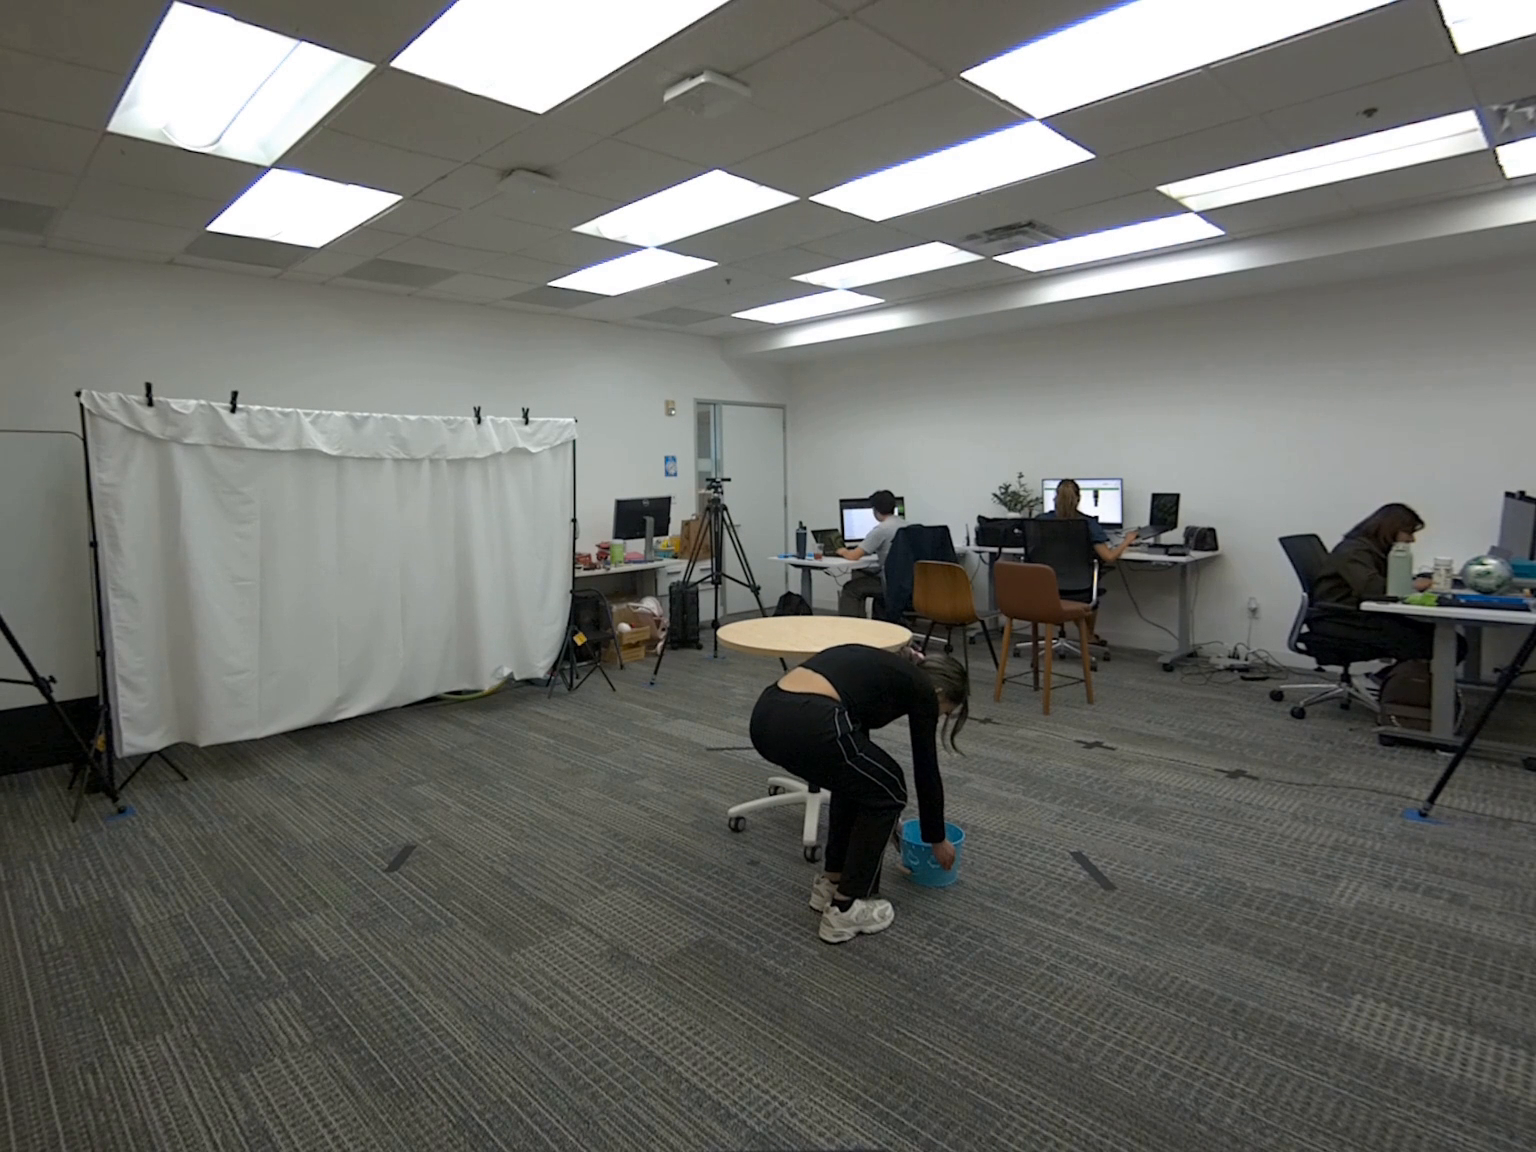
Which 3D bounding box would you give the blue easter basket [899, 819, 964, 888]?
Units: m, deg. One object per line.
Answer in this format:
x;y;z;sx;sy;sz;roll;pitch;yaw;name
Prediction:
0.568;0.966;2.987;0.243;0.155;0.245;-1;5;-2;blue easter basket
